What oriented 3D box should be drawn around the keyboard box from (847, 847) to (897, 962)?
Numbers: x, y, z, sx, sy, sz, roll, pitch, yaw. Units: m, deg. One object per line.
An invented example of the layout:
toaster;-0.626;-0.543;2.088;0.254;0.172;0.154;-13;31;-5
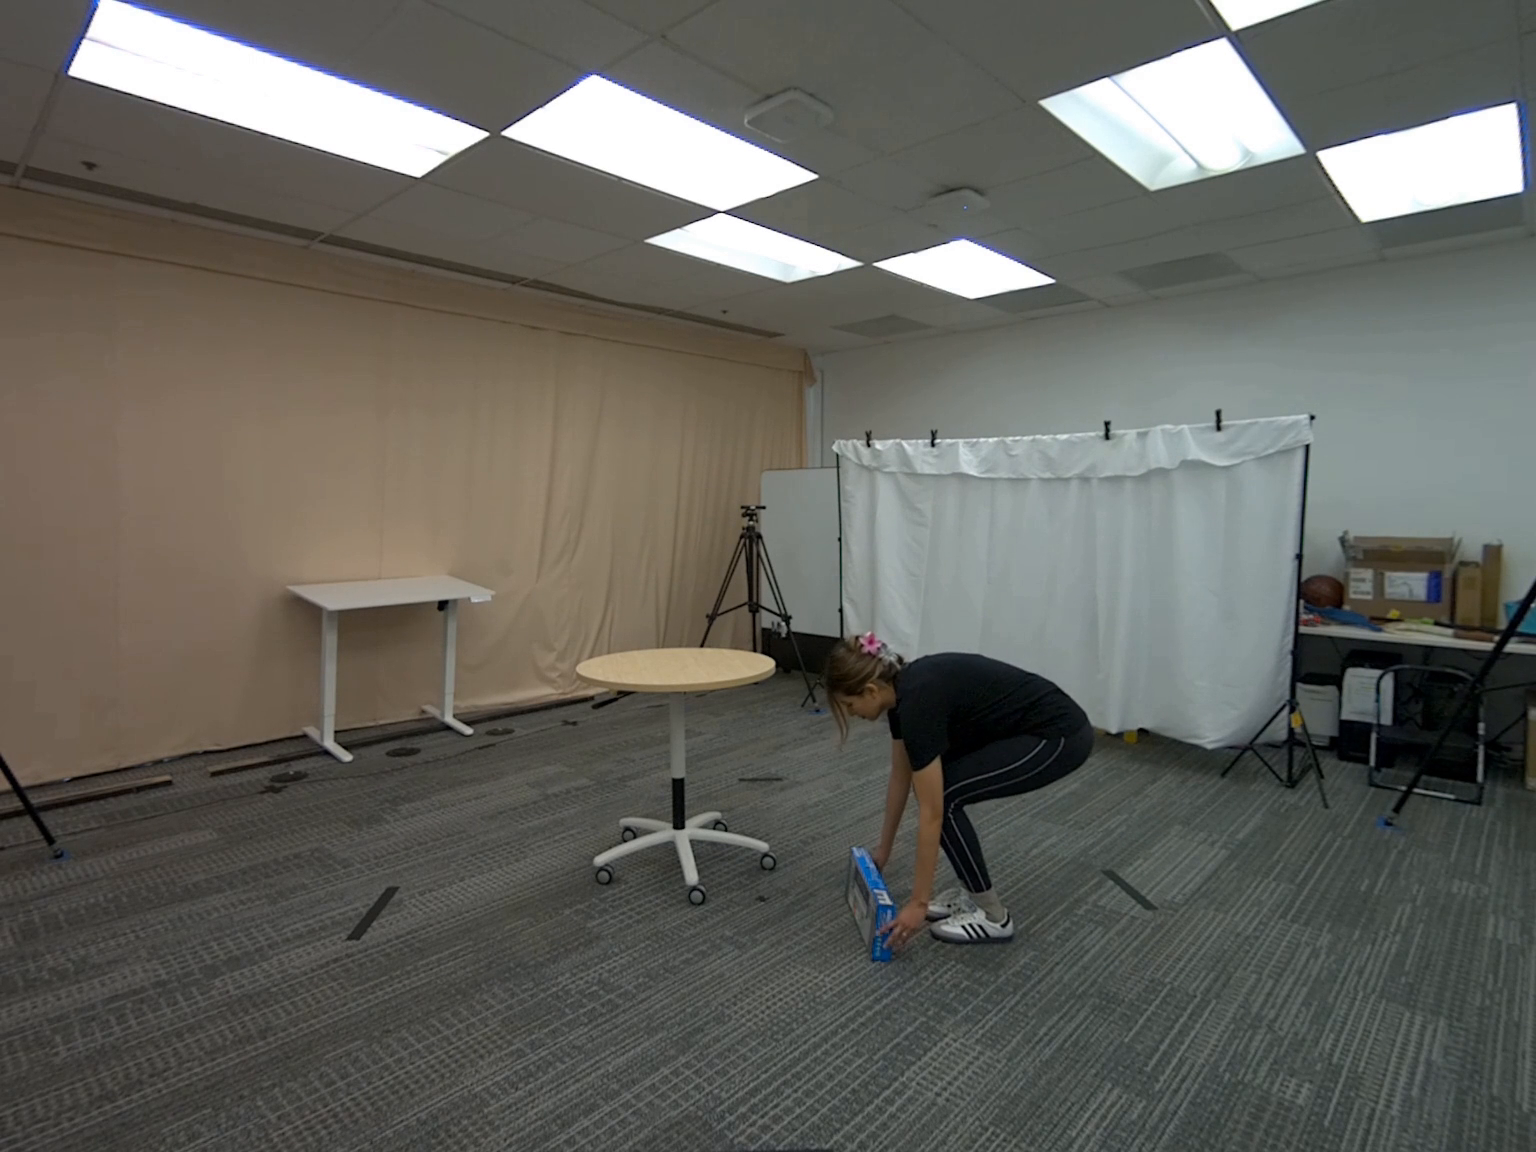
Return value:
keyboard box;0.335;1.073;2.783;0.059;0.176;0.440;5;4;-6
